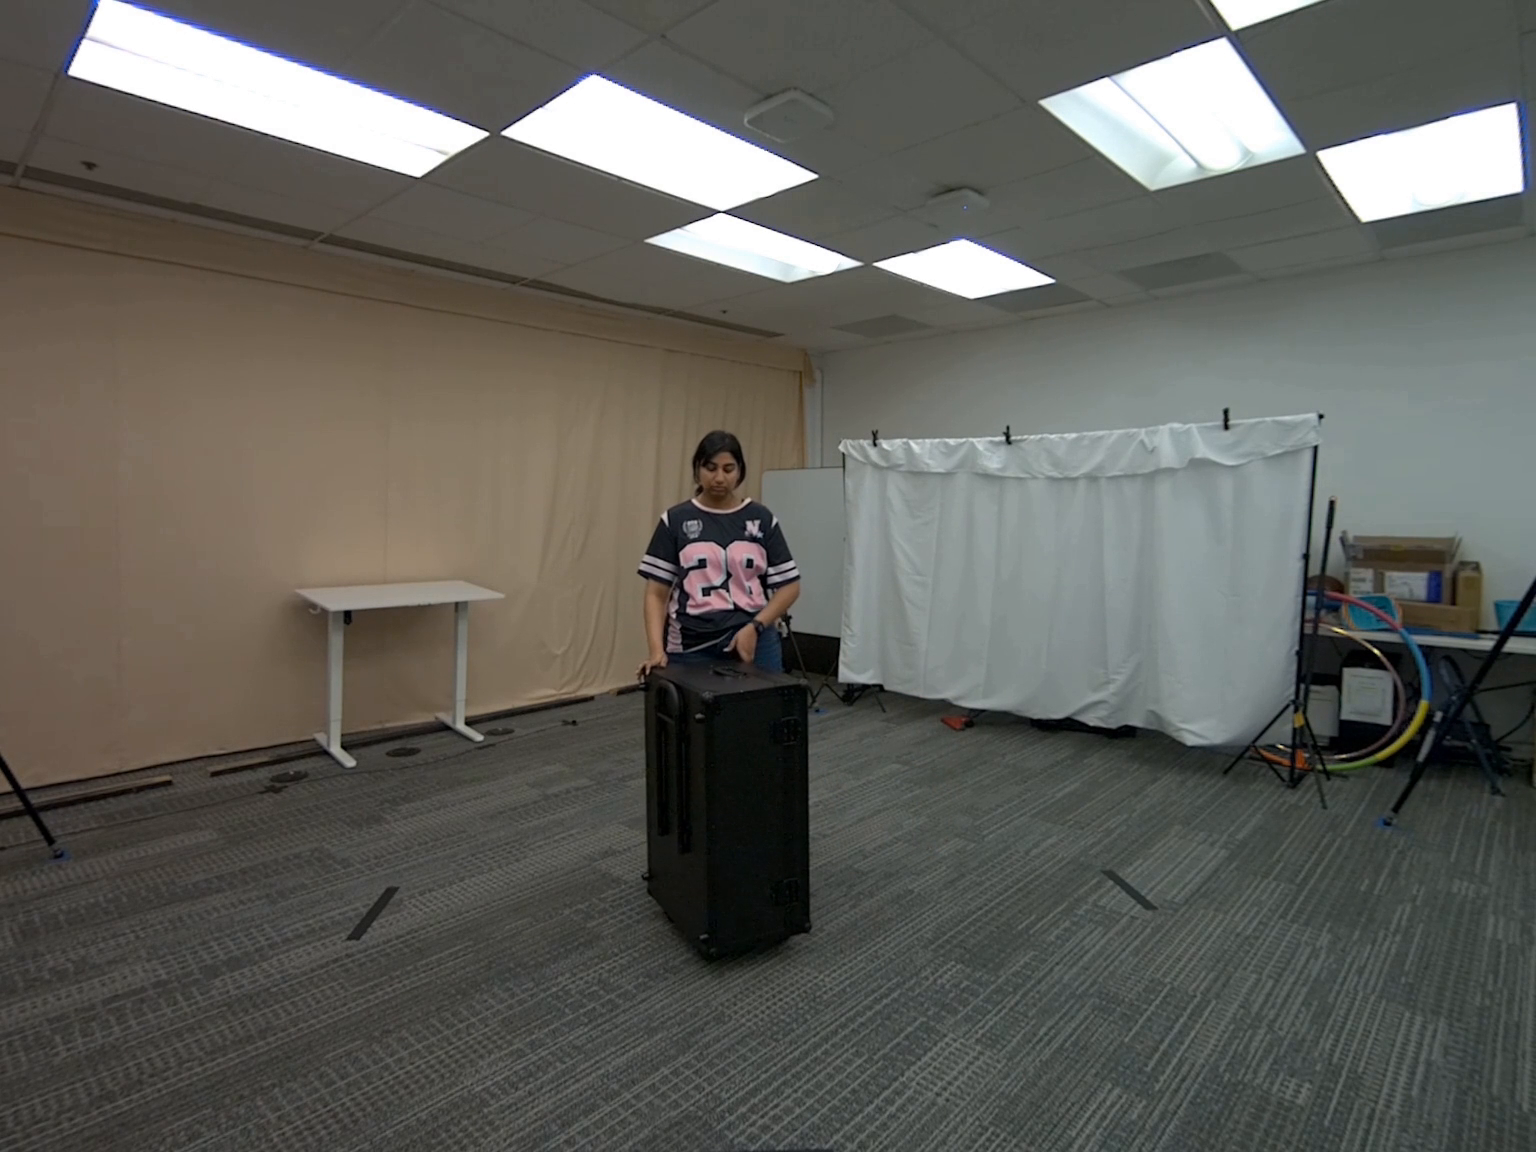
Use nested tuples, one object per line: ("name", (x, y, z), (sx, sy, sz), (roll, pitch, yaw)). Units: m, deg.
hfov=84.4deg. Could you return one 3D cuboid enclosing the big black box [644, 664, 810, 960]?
("big black box", (-0.138, 0.741, 2.718), (0.375, 0.866, 0.538), (-3, 4, -29))
